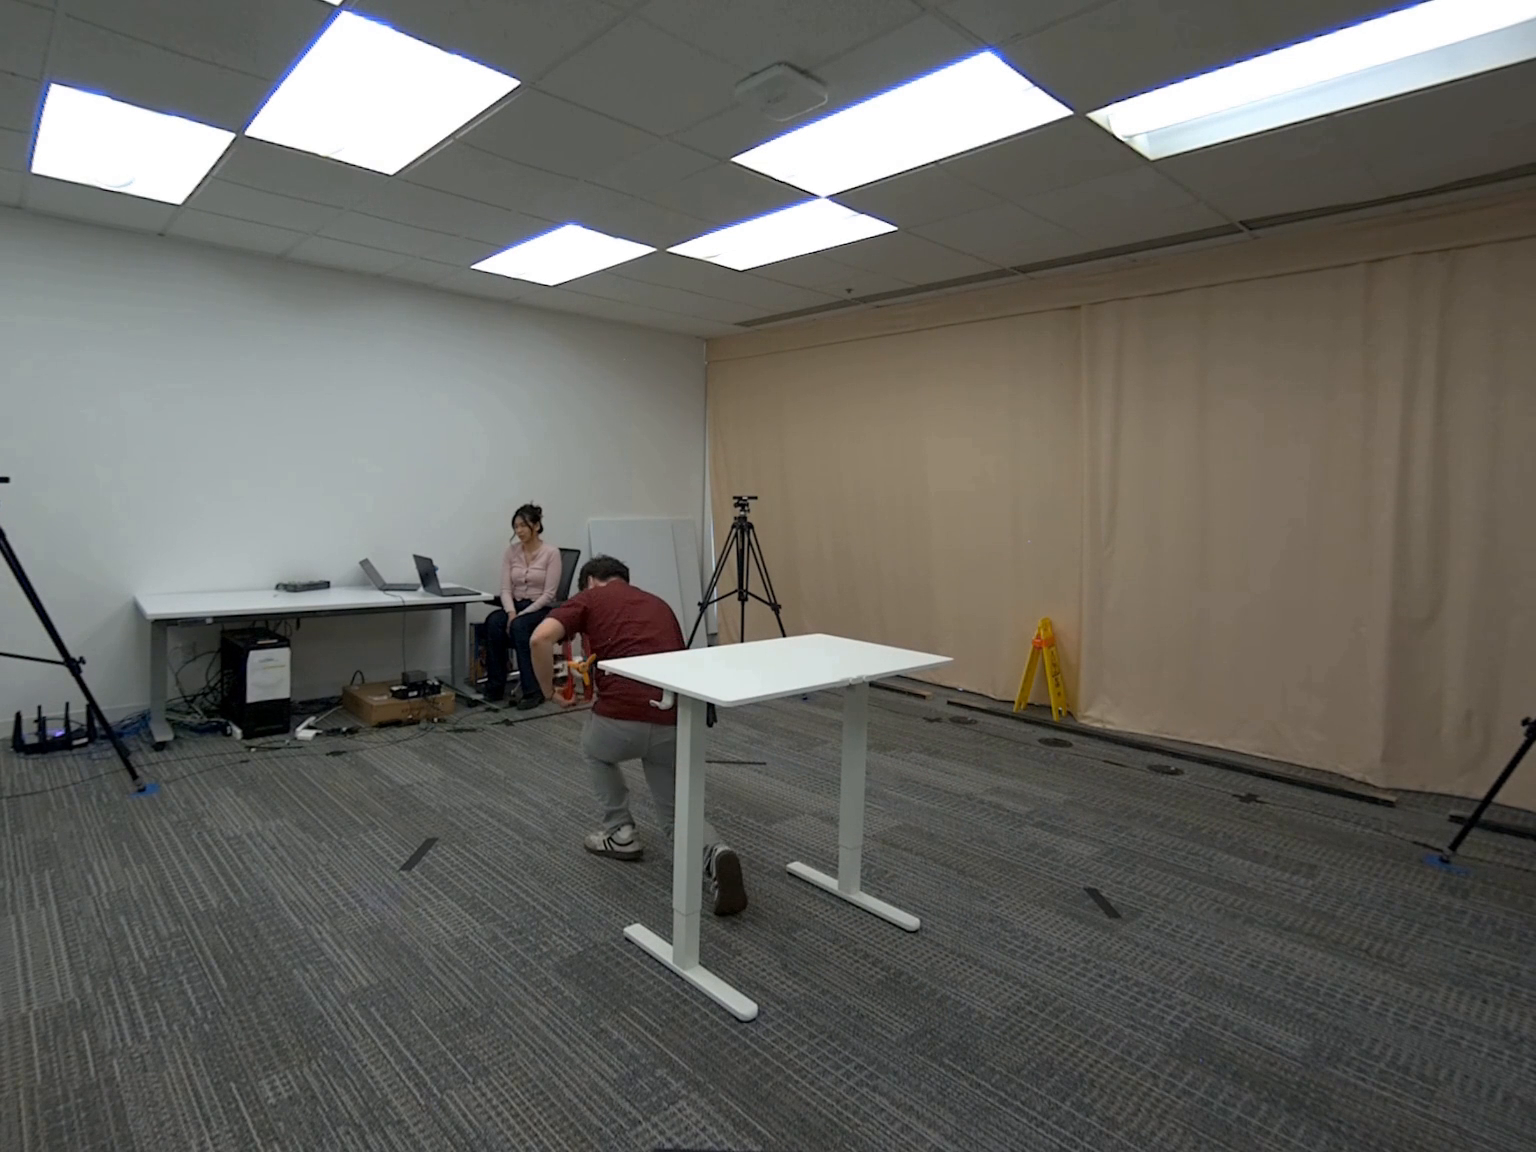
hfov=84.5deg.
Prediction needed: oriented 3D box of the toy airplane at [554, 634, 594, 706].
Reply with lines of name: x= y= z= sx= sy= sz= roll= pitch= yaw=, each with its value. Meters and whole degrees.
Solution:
toy airplane: x=-0.750 y=0.326 z=3.206 sx=0.155 sy=0.247 sz=0.266 roll=-1 pitch=24 yaw=-14
